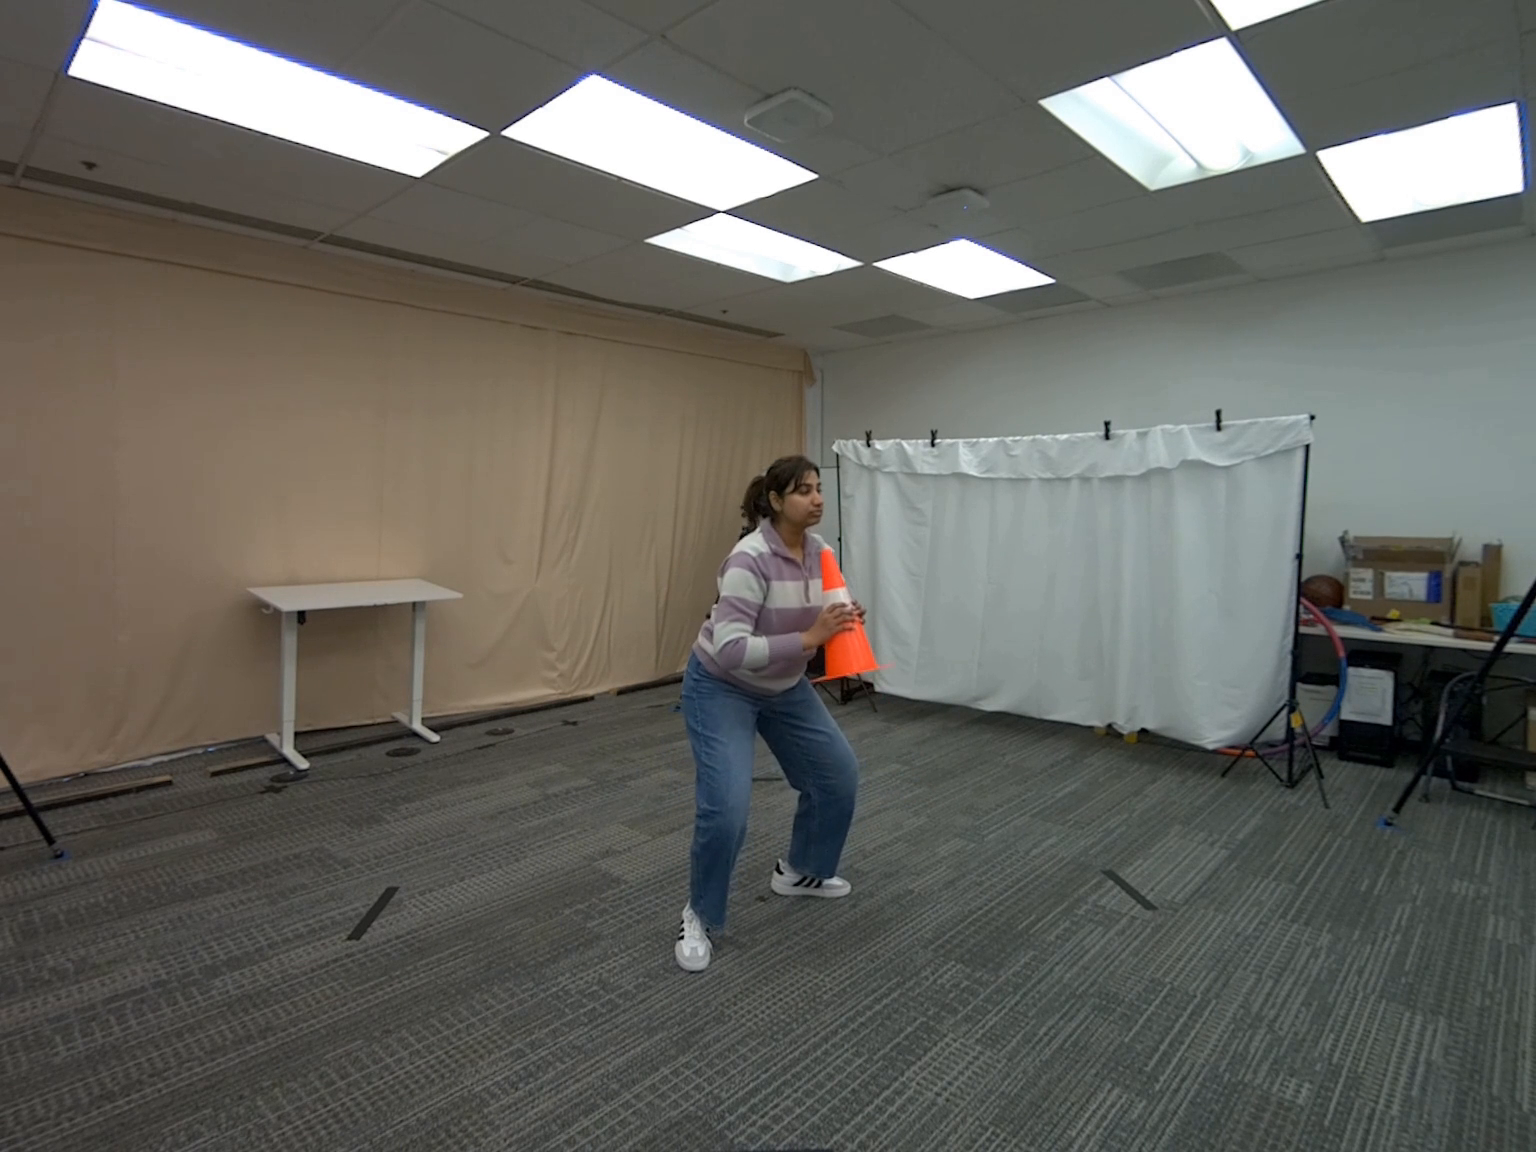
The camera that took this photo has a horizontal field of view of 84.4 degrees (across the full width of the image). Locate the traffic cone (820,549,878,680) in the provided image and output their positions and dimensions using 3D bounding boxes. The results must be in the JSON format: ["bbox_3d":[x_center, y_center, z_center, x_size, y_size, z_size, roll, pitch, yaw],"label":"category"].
[{"bbox_3d":[0.210,0.114,2.549,0.208,0.386,0.199,-15,-7,31],"label":"traffic cone"}]
